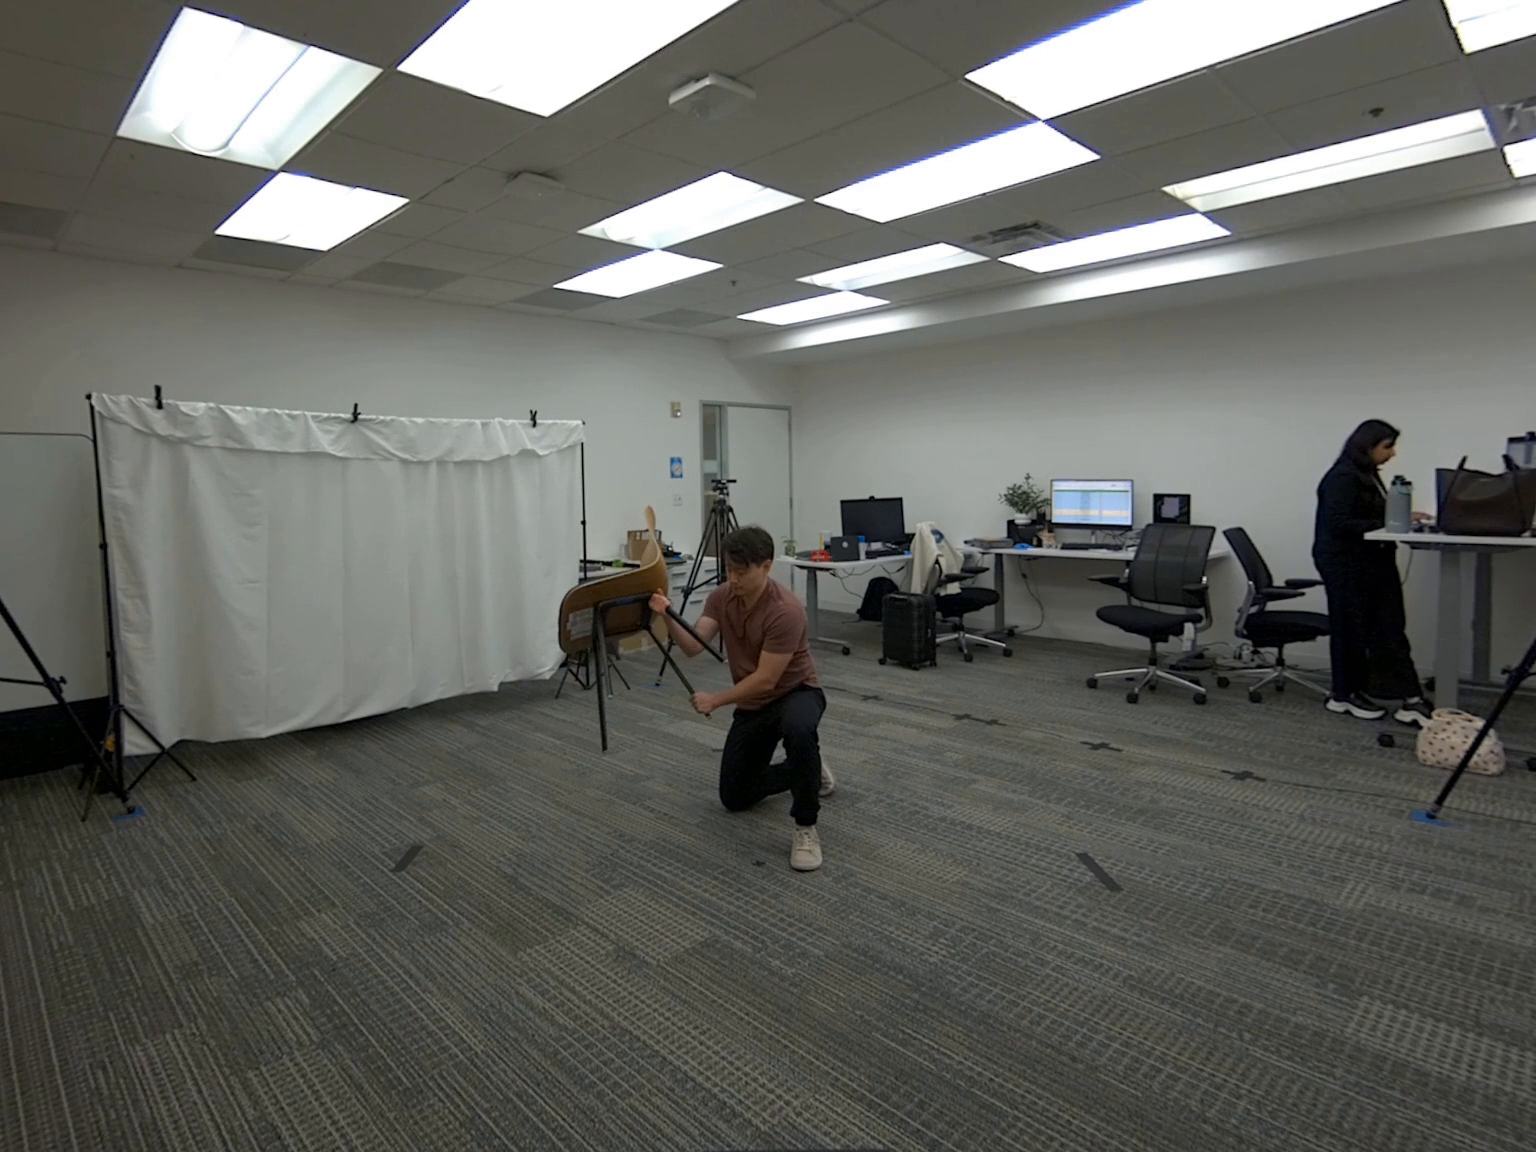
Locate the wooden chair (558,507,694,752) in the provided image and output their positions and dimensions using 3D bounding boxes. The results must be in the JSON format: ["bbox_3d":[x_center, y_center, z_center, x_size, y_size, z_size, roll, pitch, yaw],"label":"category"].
[{"bbox_3d":[-0.574,0.177,3.409,0.516,0.907,0.469,-11,-35,-19],"label":"wooden chair"}]
